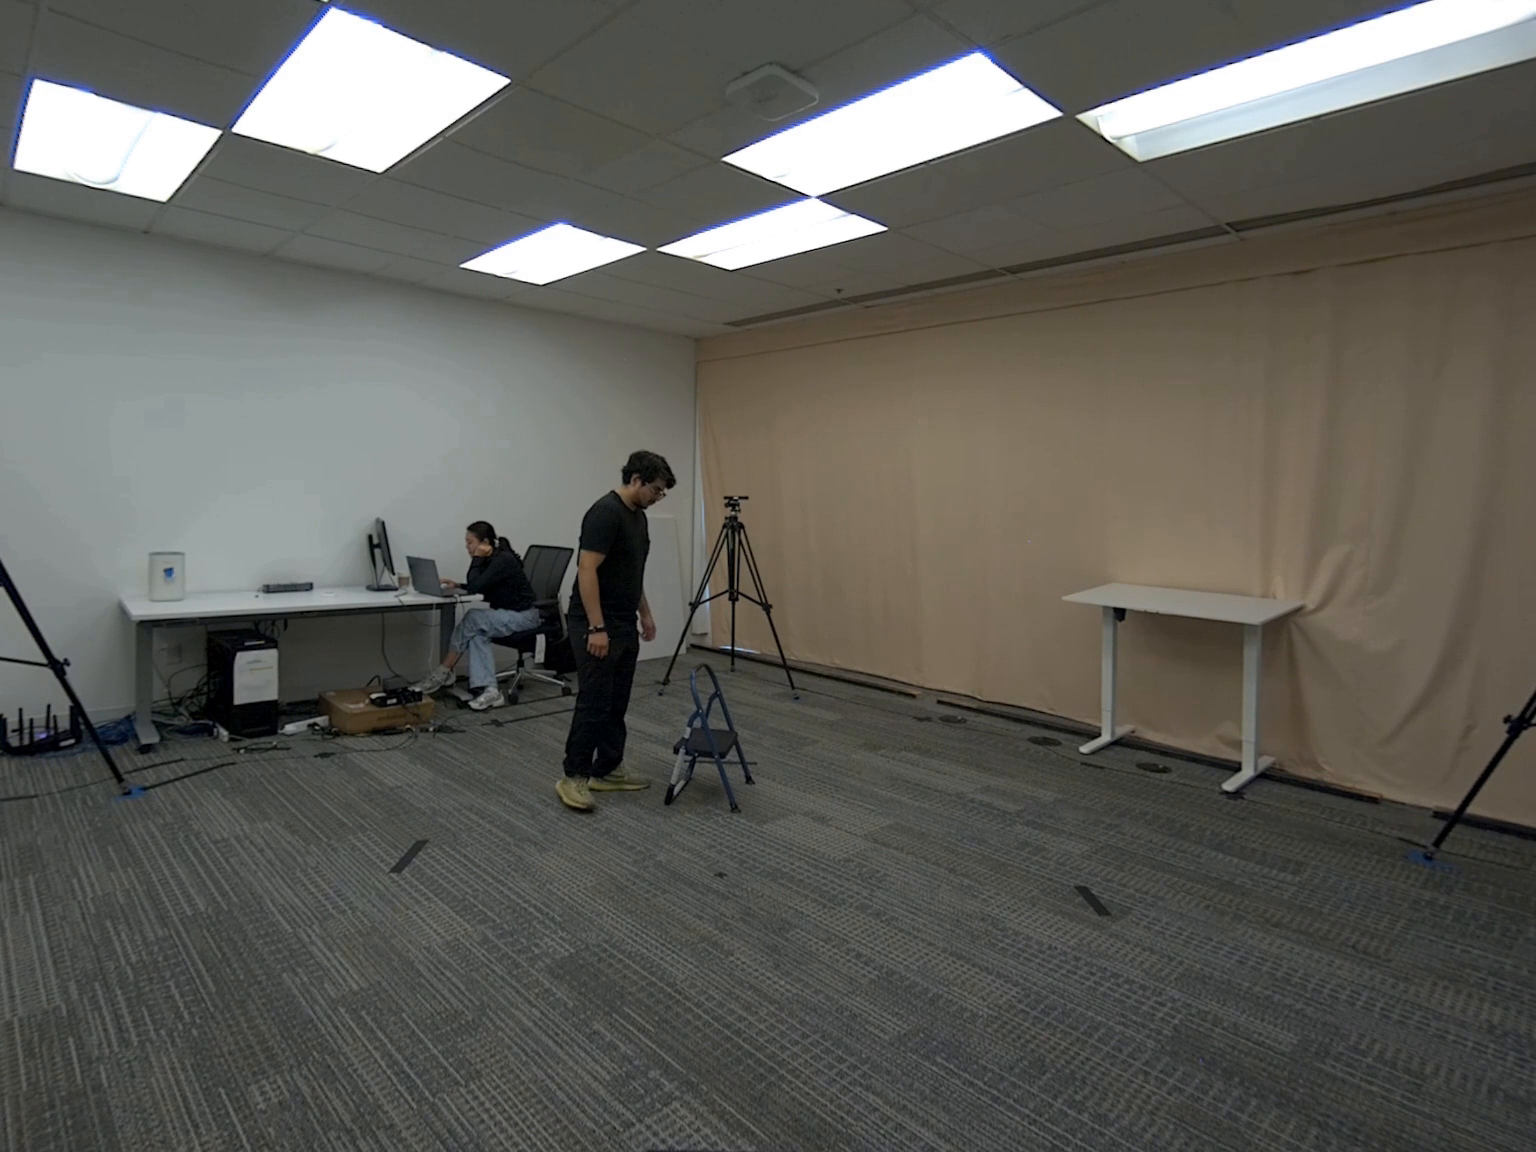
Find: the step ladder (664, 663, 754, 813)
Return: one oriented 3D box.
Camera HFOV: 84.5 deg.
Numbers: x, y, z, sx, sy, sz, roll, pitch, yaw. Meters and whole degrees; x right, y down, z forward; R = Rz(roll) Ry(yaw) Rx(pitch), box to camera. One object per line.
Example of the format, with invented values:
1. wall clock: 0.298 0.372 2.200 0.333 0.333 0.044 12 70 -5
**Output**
1. step ladder: -0.276 0.729 3.961 0.352 0.605 0.428 2 3 9
